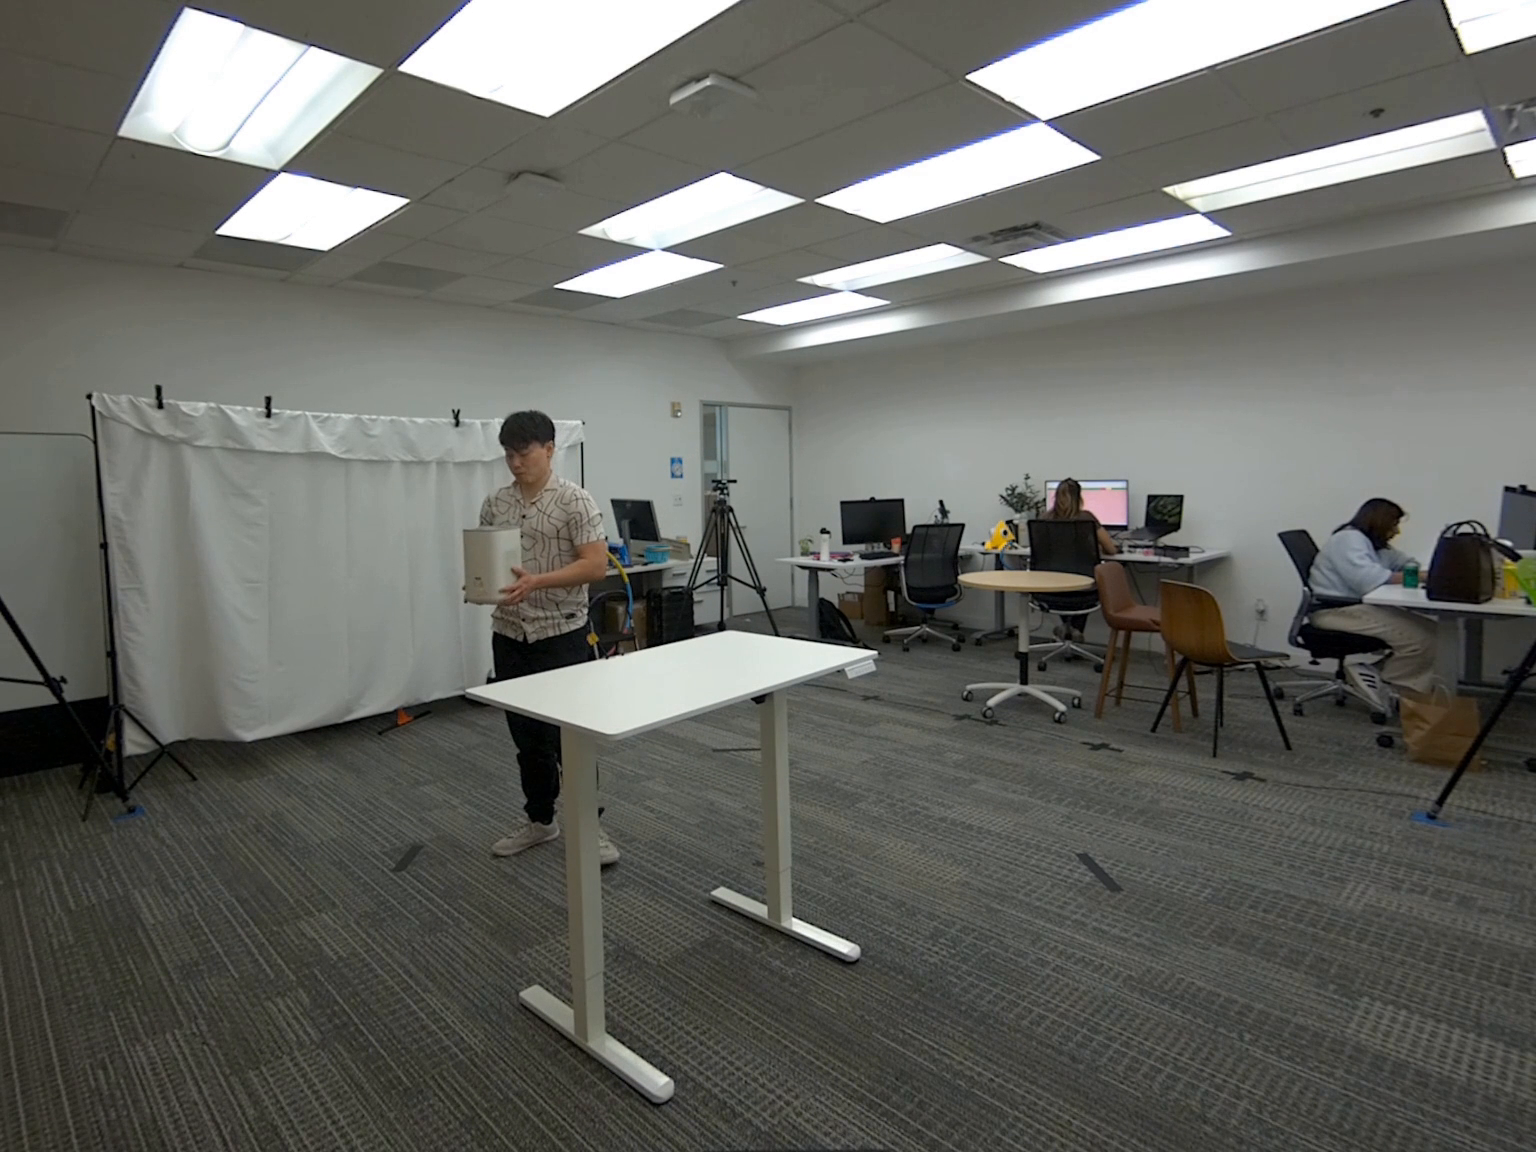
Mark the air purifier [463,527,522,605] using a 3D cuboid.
[{"bbox_3d":[-0.982,-0.040,3.041,0.175,0.264,0.169,2,7,21],"label":"air purifier"}]
